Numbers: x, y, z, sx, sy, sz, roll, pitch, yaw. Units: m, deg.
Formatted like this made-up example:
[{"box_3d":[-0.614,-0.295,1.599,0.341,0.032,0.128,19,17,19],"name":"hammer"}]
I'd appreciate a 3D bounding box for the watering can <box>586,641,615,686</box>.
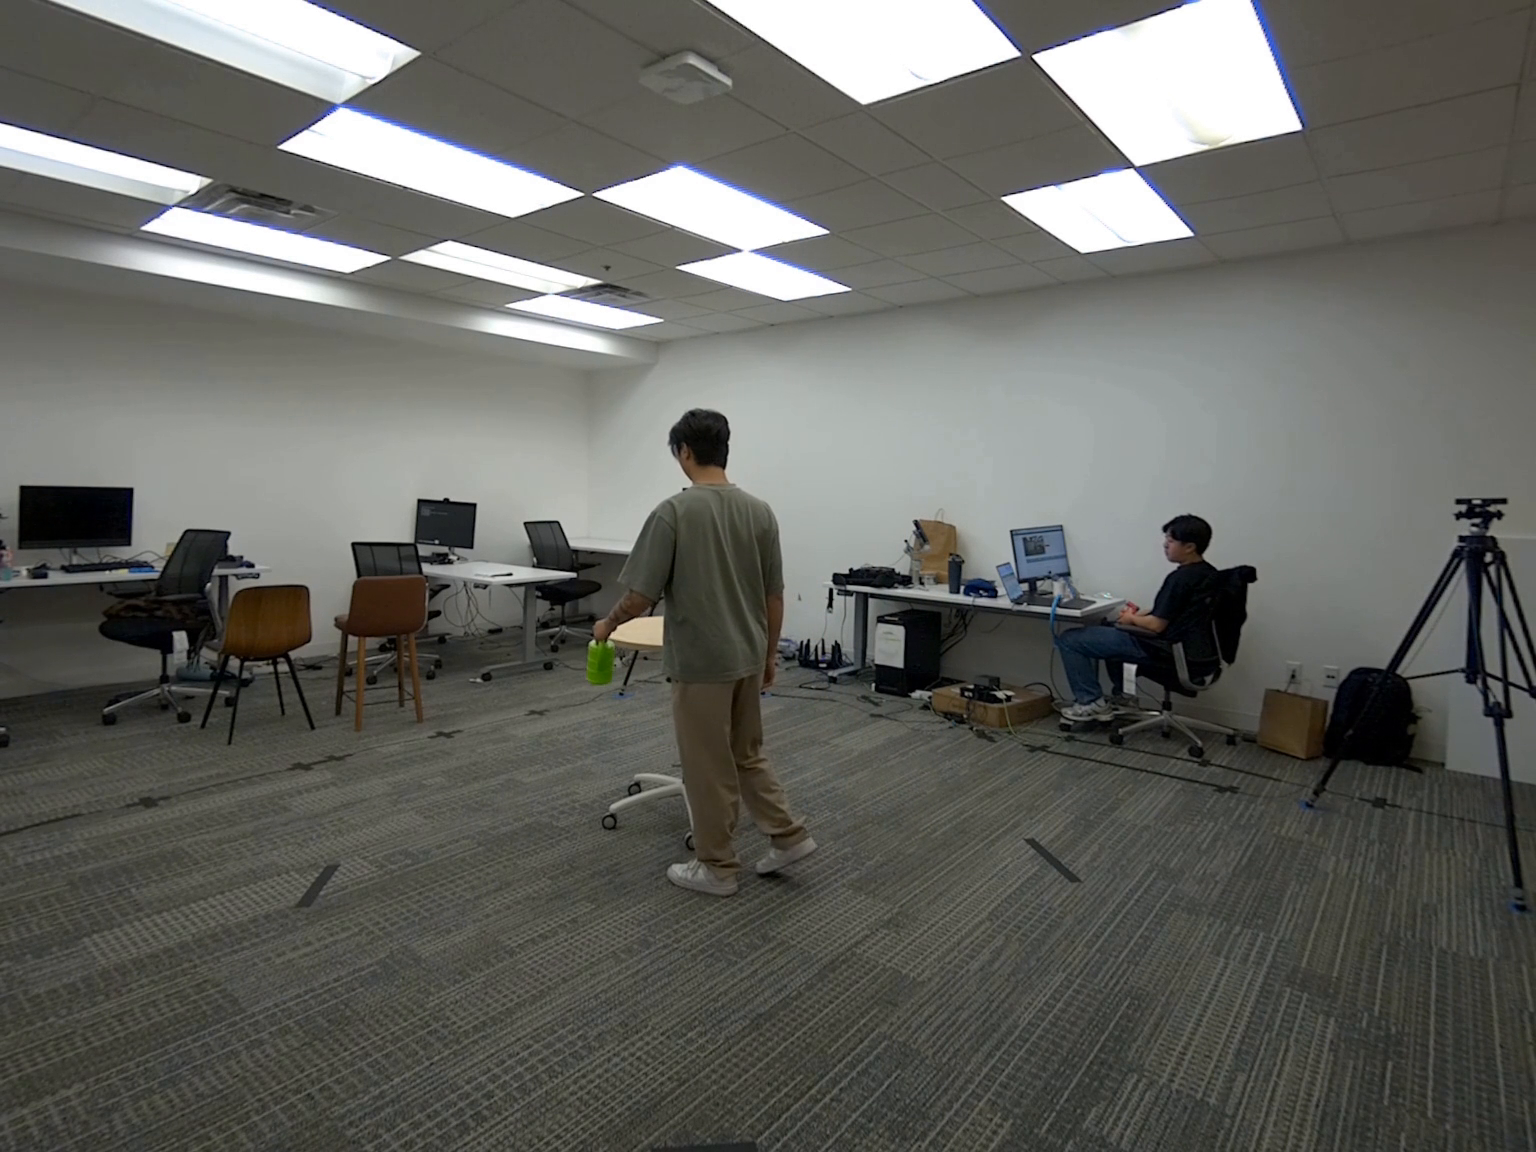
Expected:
[{"box_3d":[-0.603,0.273,3.095,0.098,0.176,0.280,7,6,-2],"name":"watering can"}]
